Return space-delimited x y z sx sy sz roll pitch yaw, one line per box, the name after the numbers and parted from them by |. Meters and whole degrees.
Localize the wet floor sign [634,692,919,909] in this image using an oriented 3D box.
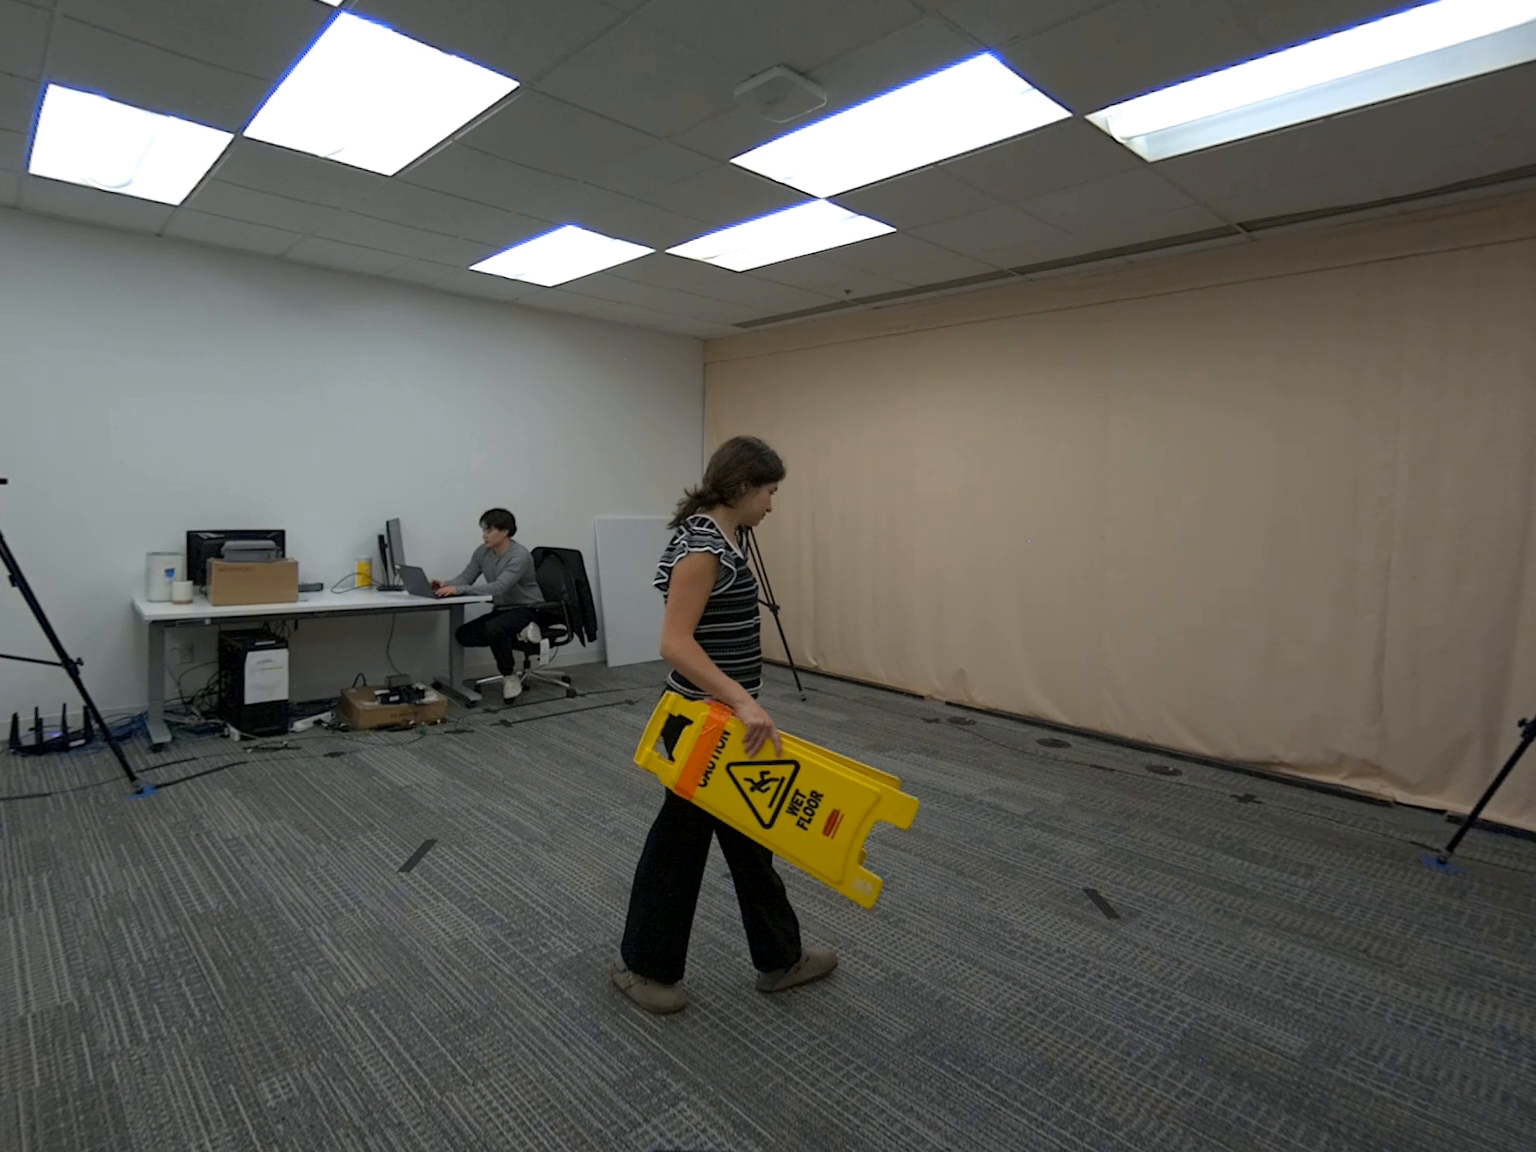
-0.014 0.511 2.064 0.648 0.282 0.288 25 -1 3 | wet floor sign
